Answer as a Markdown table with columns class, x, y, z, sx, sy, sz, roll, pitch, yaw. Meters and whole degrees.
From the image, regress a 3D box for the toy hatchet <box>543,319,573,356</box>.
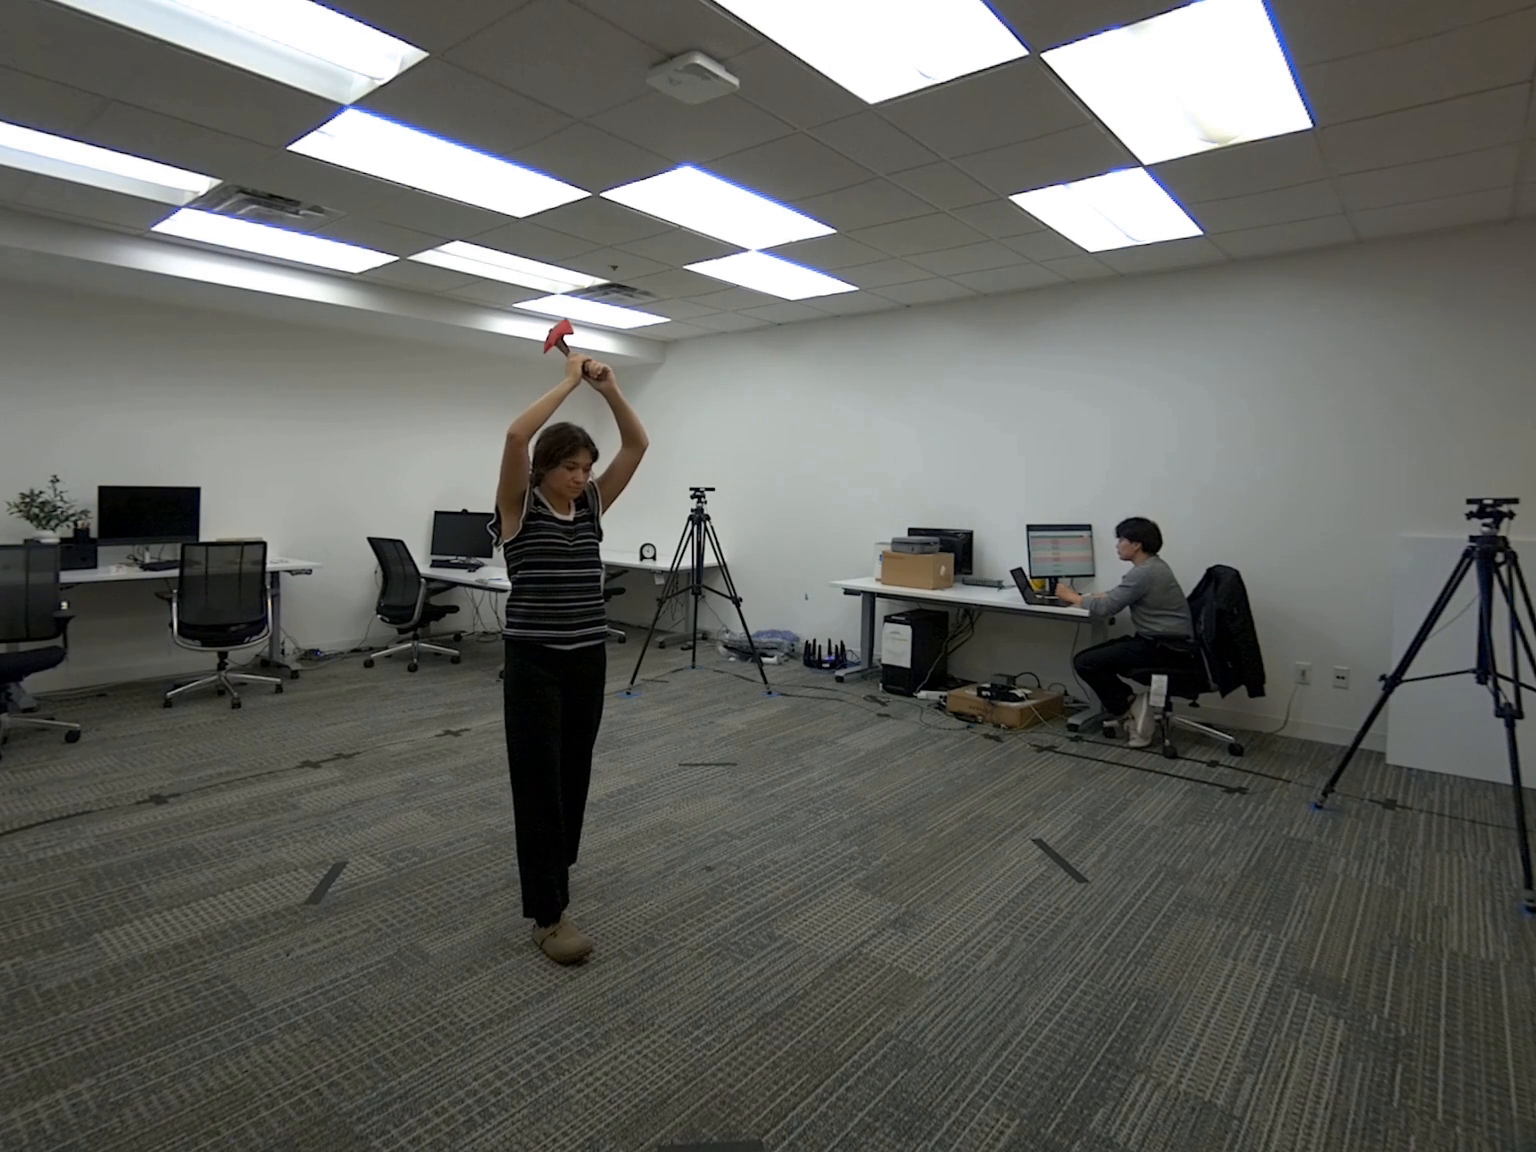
| class | x | y | z | sx | sy | sz | roll | pitch | yaw |
| --- | --- | --- | --- | --- | --- | --- | --- | --- | --- |
| toy hatchet | -0.587 | -0.707 | 2.608 | 0.279 | 0.130 | 0.029 | 29 | 13 | 26 |
